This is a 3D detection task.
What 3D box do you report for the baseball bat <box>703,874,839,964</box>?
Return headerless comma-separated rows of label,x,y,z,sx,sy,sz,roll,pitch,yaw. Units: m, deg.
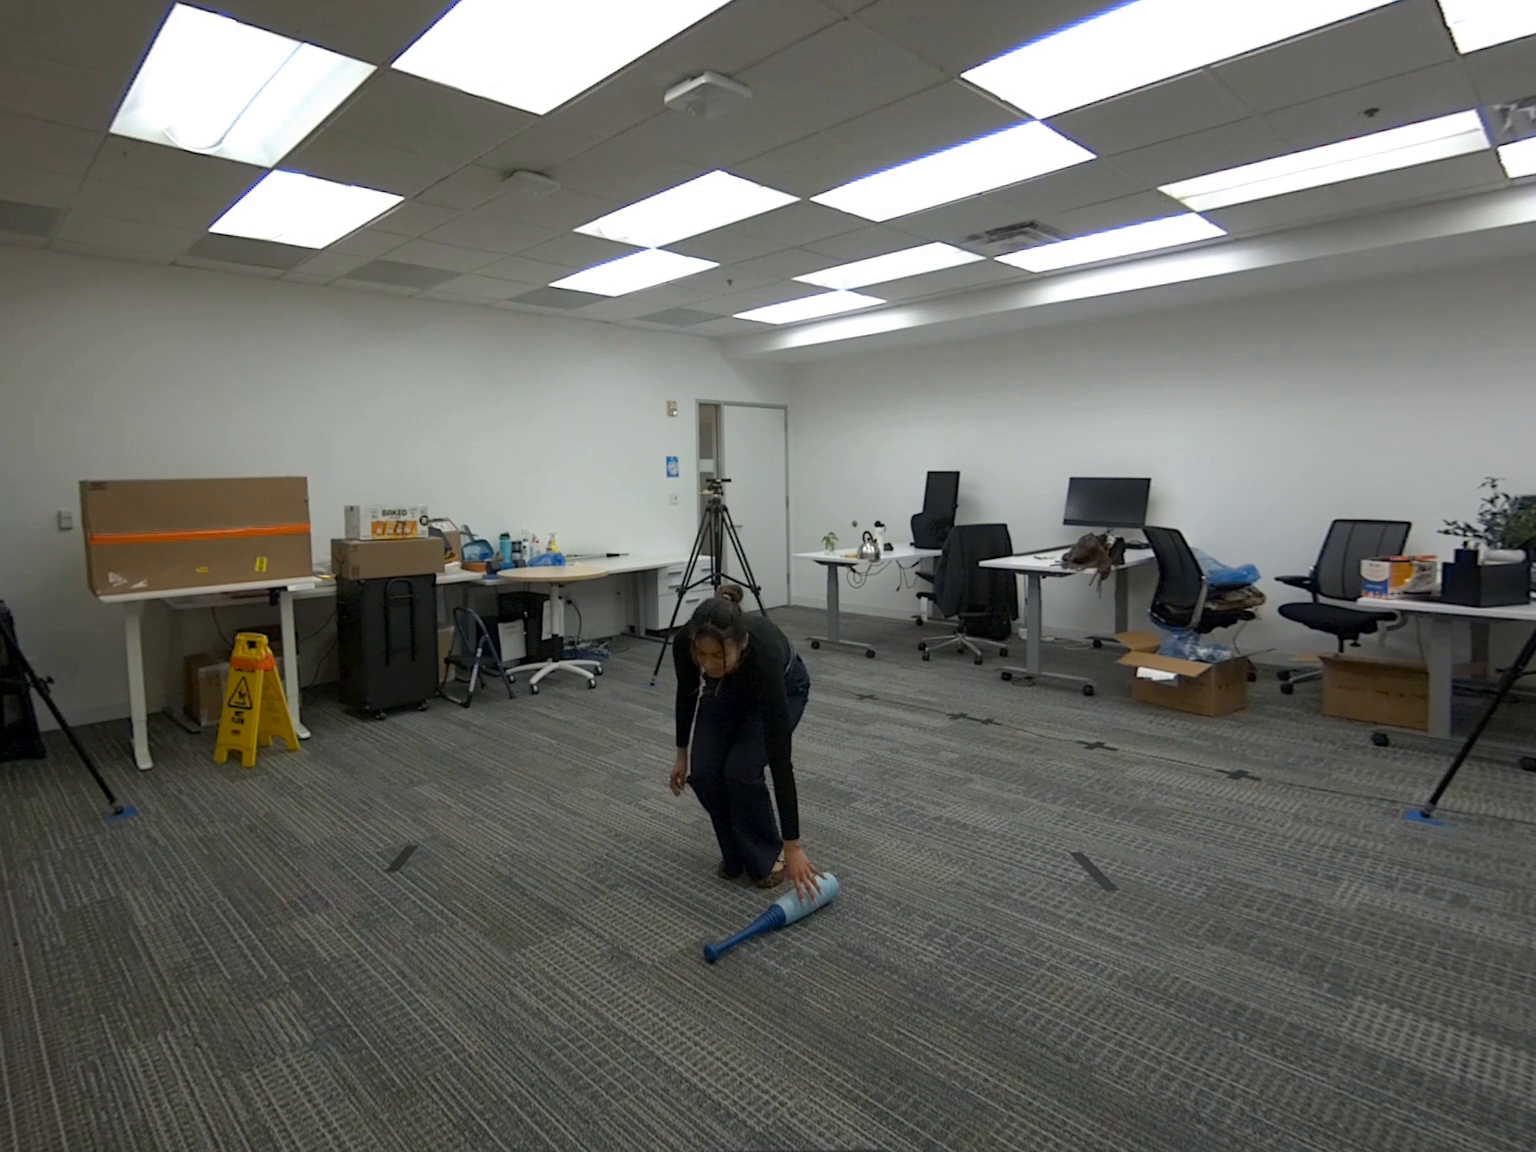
baseball bat,0.019,1.058,2.651,0.530,0.088,0.092,-11,10,-41
